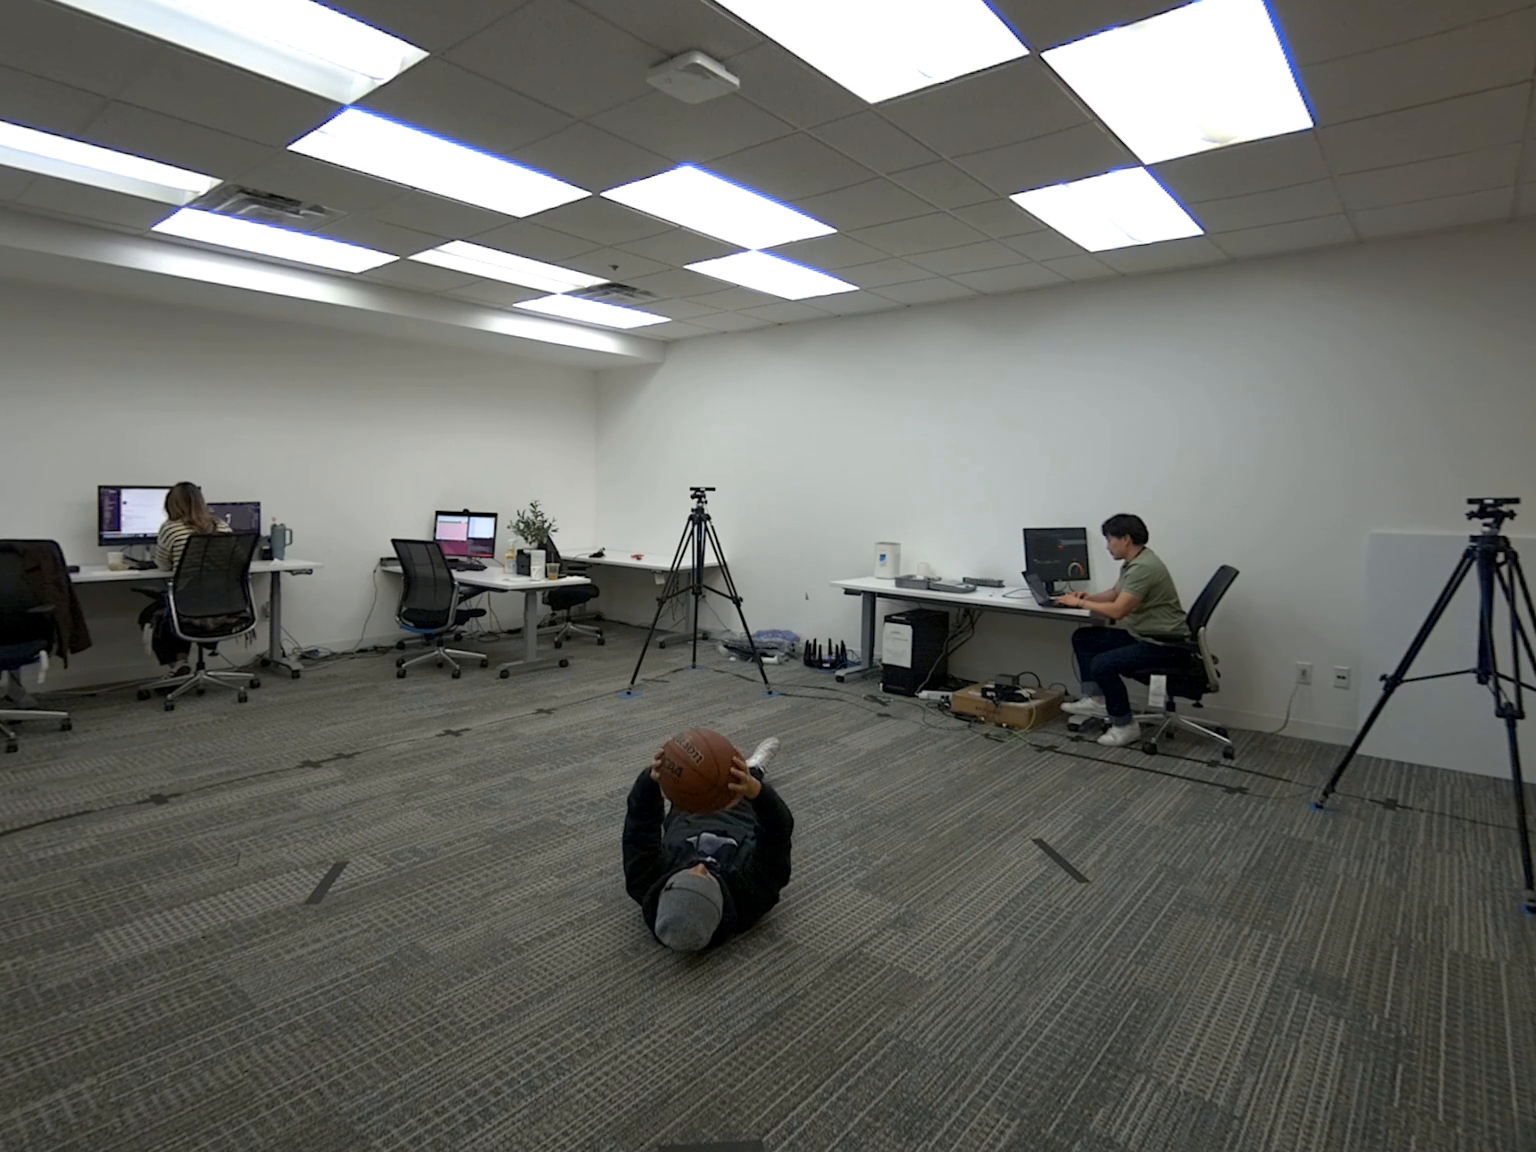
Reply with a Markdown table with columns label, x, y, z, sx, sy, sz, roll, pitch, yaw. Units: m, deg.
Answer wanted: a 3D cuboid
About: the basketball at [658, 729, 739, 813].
| label | x | y | z | sx | sy | sz | roll | pitch | yaw |
| --- | --- | --- | --- | --- | --- | --- | --- | --- | --- |
| basketball | -0.210 | 0.557 | 2.463 | 0.235 | 0.235 | 0.237 | 1 | 4 | -2 |
